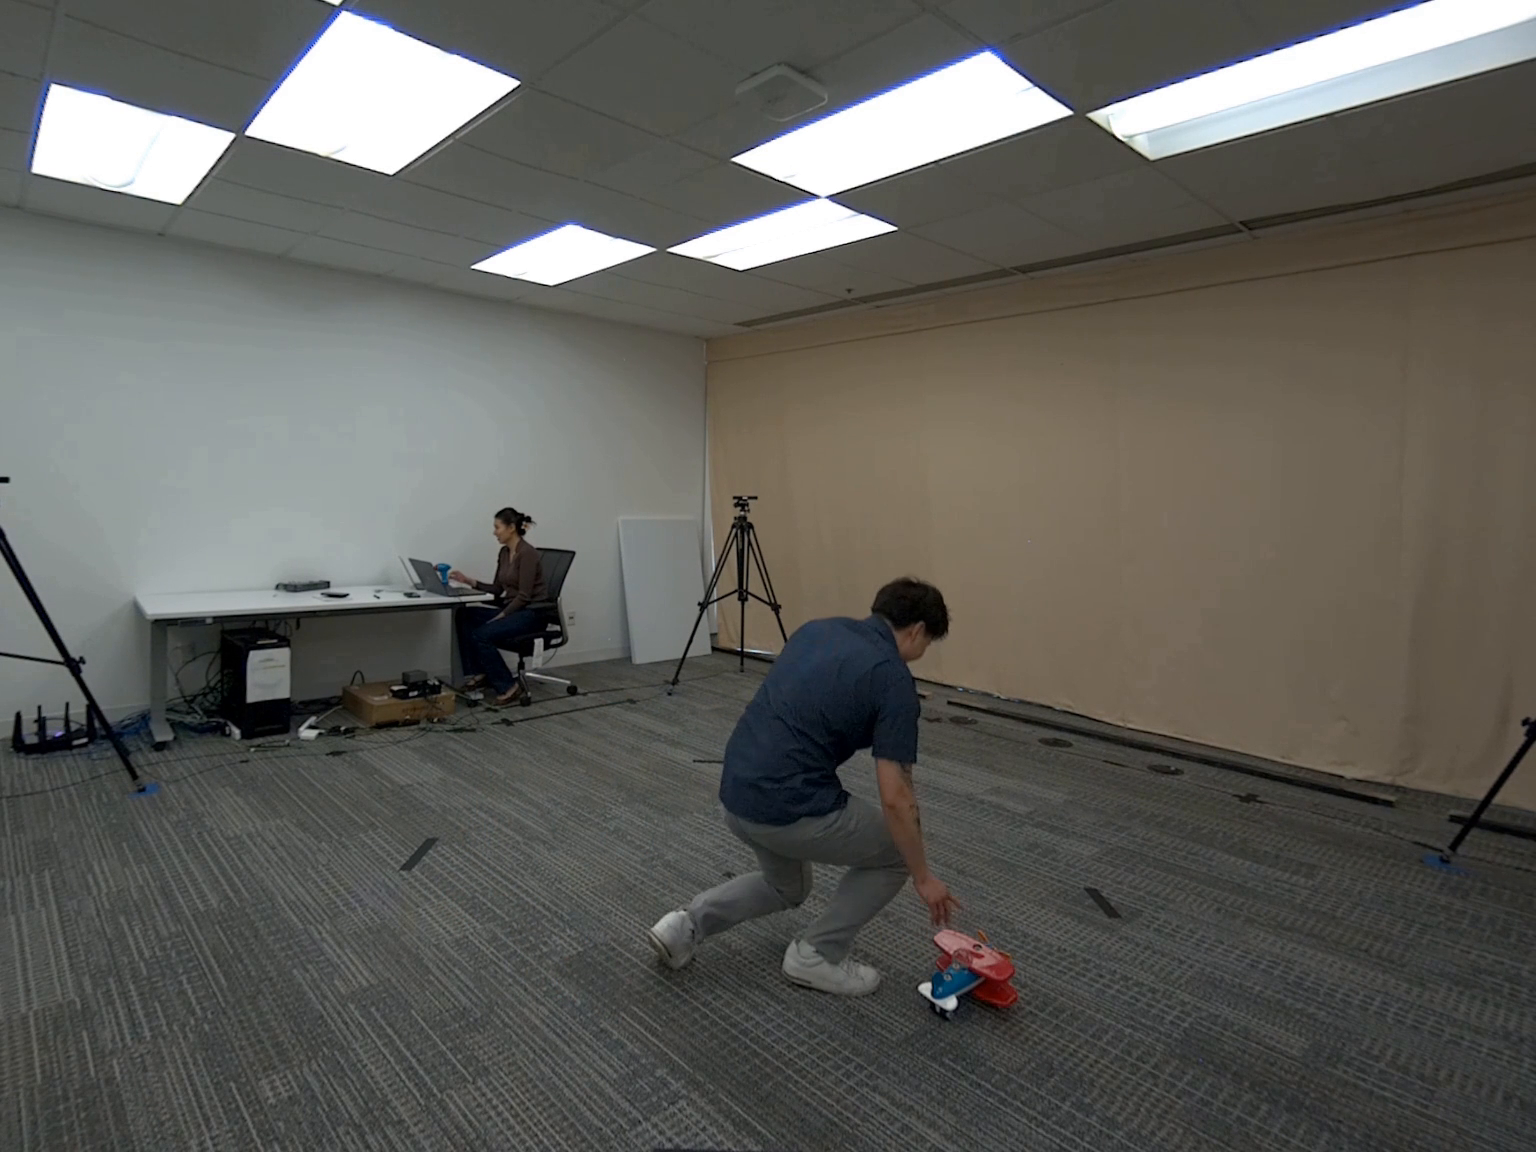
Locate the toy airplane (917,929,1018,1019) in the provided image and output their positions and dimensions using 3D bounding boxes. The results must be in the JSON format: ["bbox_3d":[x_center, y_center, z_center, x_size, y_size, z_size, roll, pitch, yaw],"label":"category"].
[{"bbox_3d":[0.553,1.118,2.320,0.256,0.156,0.254,4,4,27],"label":"toy airplane"}]
